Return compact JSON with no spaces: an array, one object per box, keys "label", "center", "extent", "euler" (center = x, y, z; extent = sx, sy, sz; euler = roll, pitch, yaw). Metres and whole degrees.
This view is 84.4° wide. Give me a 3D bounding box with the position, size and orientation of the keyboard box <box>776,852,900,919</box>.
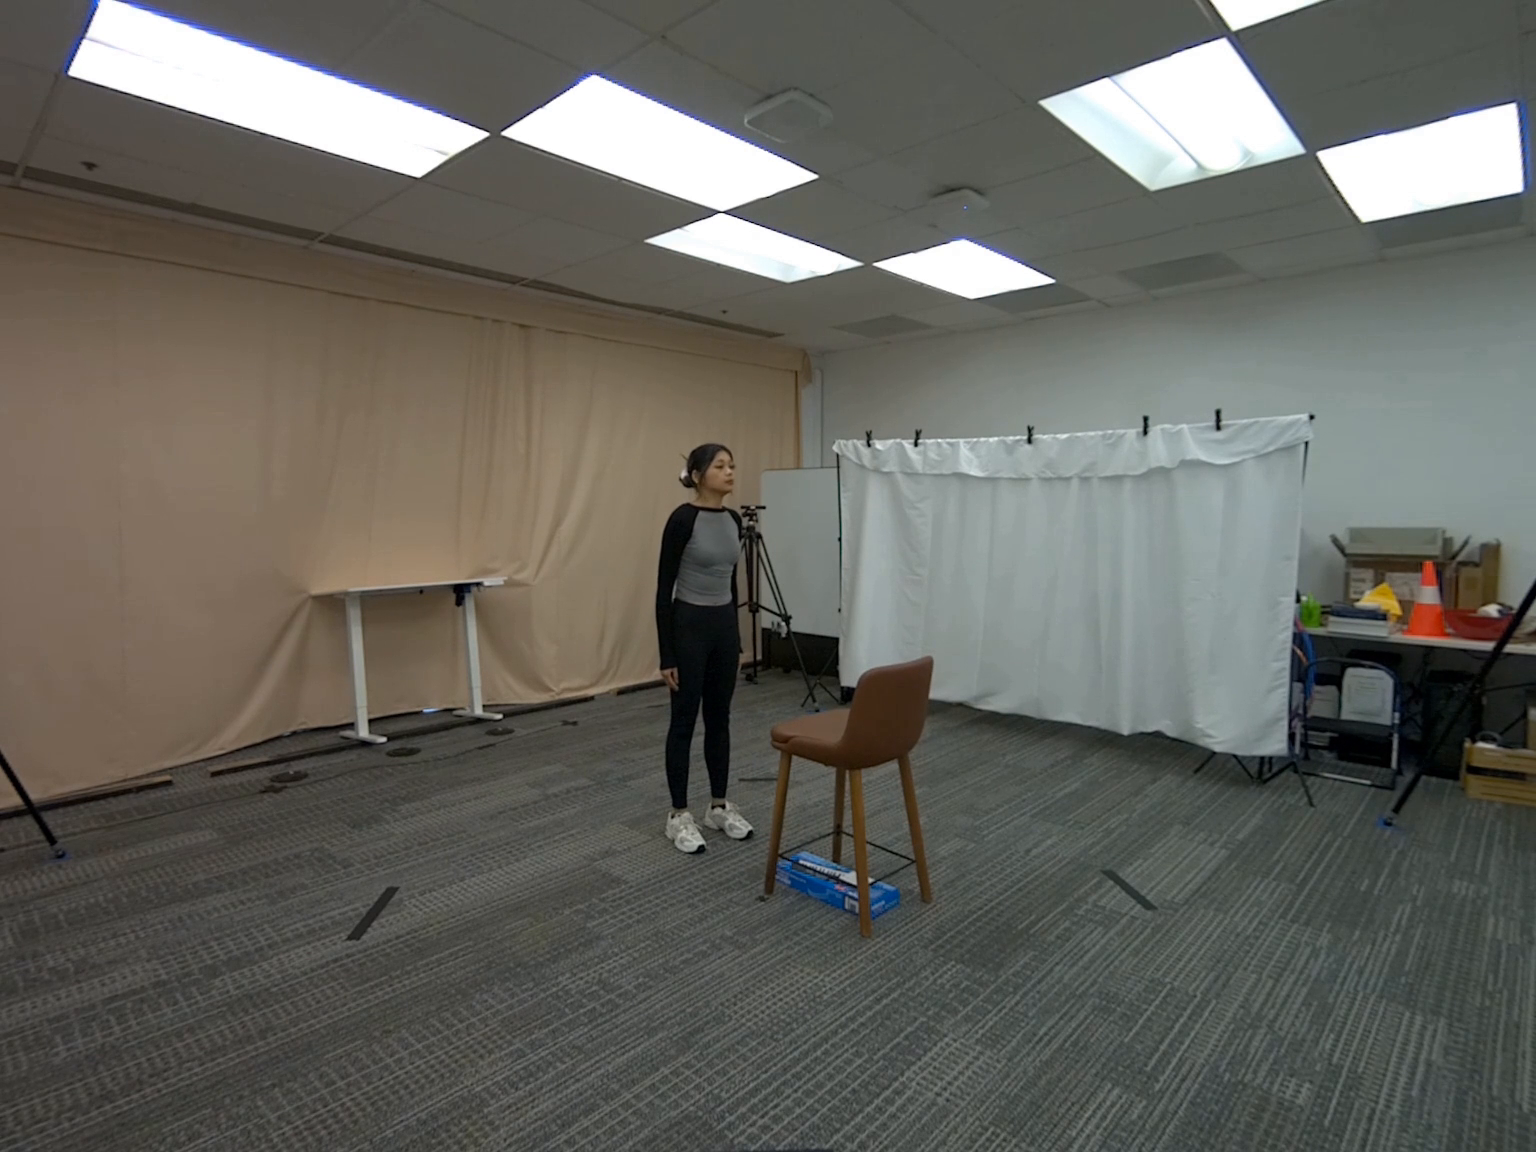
[{"label":"keyboard box","center":[0.244,1.110,3.037],"extent":[0.170,0.059,0.452],"euler":[-4,7,-44]}]
